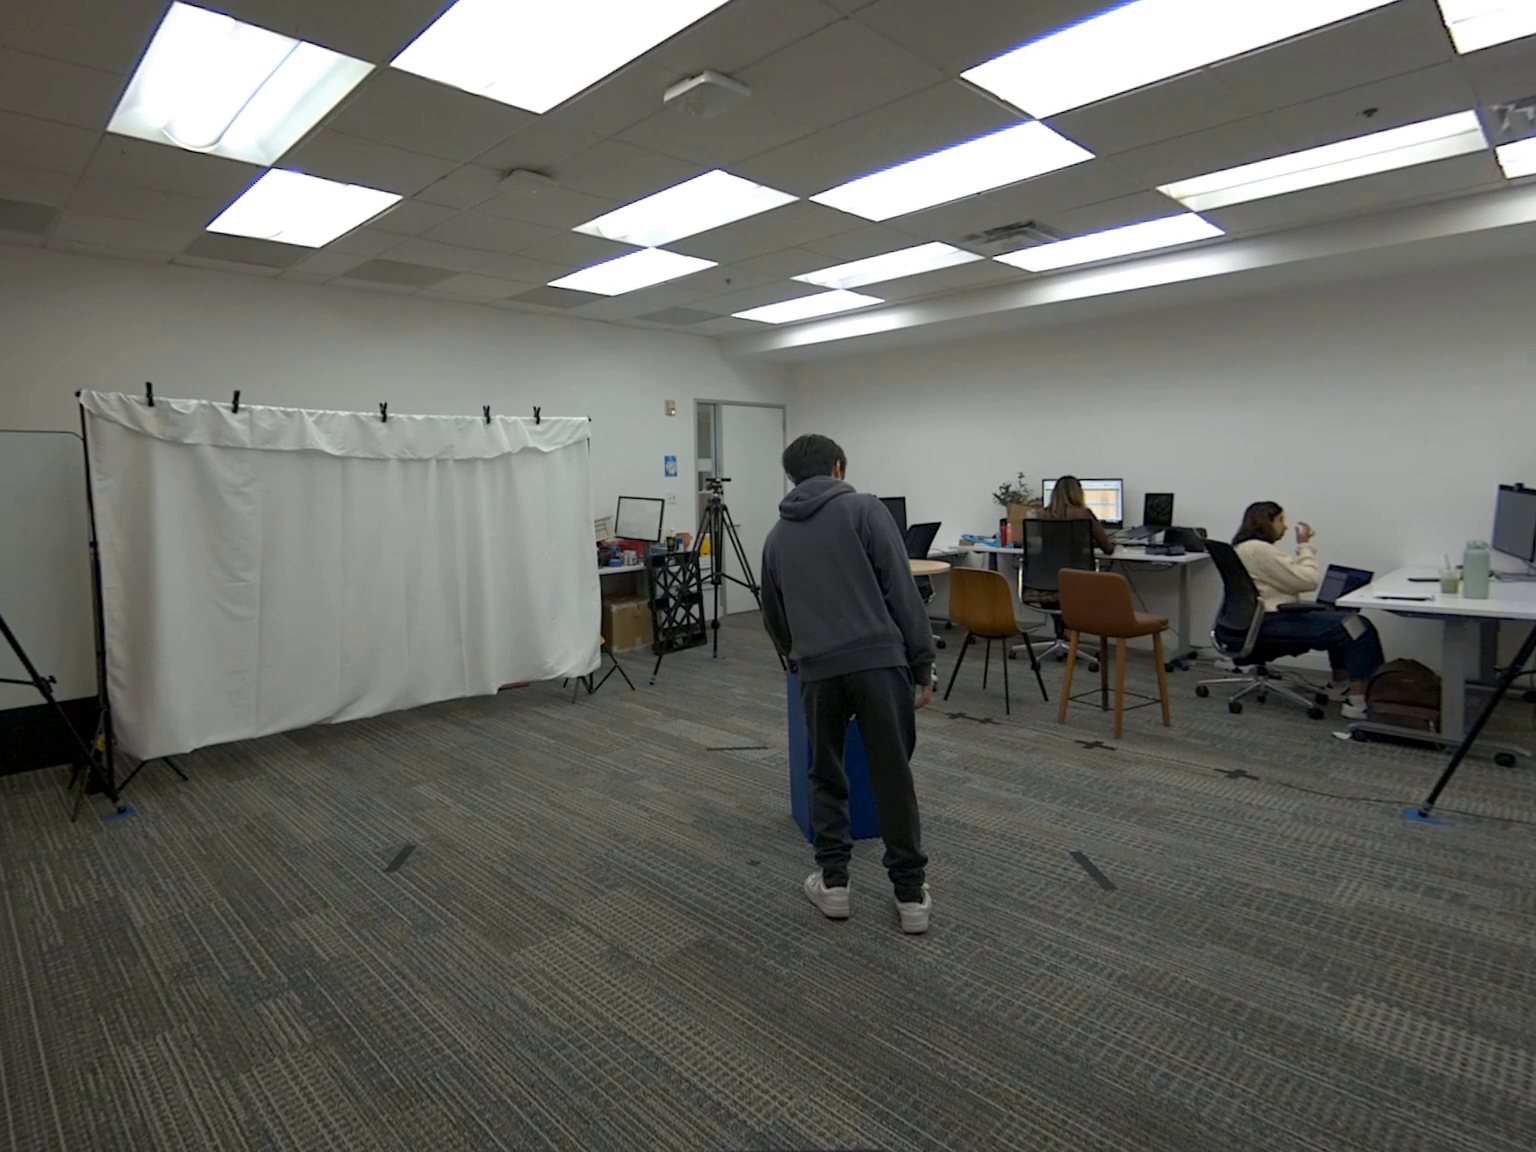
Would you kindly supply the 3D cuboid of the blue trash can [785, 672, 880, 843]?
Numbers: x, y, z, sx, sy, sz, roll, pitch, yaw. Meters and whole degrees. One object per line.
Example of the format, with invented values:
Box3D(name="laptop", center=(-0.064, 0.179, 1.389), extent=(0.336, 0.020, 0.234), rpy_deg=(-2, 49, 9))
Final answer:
Box3D(name="blue trash can", center=(0.280, 0.651, 3.417), extent=(0.370, 0.711, 0.383), rpy_deg=(-2, 4, -10))
